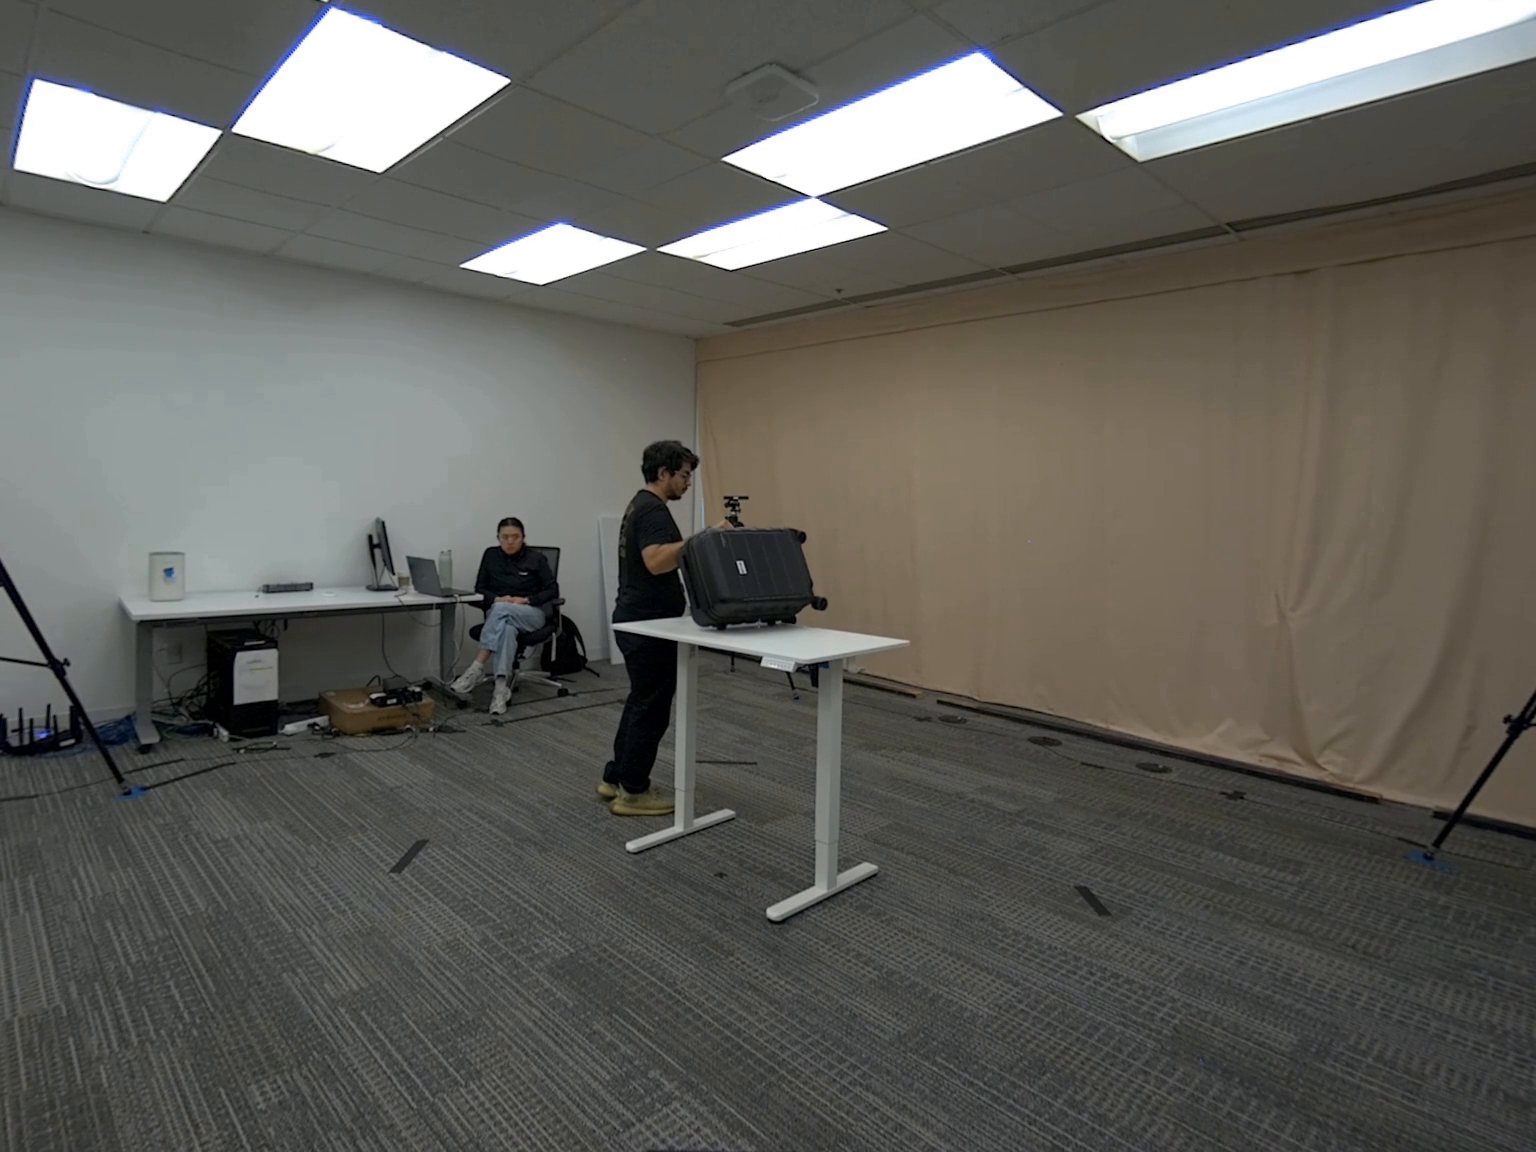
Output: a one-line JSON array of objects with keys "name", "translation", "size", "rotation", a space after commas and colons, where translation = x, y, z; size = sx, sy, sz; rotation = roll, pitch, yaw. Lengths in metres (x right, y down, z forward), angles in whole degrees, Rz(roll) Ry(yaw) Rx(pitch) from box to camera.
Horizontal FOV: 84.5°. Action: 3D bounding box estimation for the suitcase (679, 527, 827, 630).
[{"name": "suitcase", "translation": [-0.082, 0.000, 3.330], "size": [0.536, 0.381, 0.250], "rotation": [0, -23, -41]}]
